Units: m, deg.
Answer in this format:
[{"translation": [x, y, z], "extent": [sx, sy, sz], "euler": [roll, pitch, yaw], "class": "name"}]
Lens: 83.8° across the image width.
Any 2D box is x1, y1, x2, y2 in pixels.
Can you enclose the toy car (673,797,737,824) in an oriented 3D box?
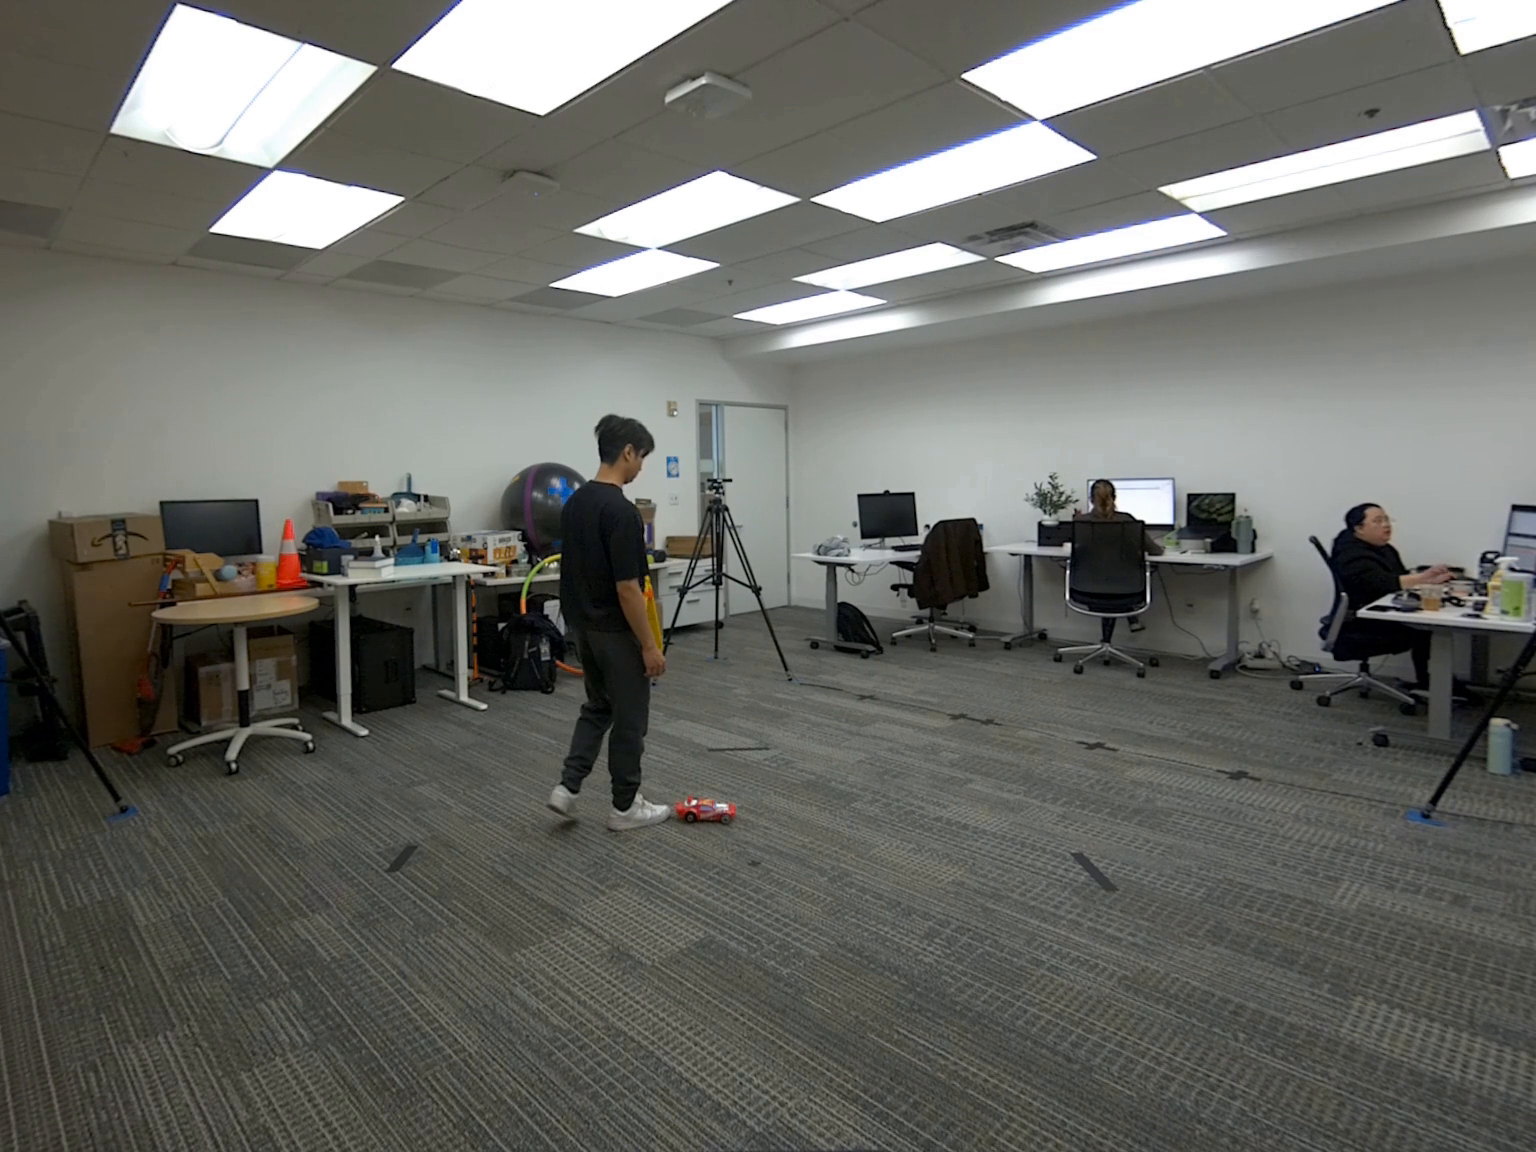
[{"translation": [-0.268, 0.967, 3.526], "extent": [0.255, 0.083, 0.130], "euler": [11, 6, 3], "class": "toy car"}]
